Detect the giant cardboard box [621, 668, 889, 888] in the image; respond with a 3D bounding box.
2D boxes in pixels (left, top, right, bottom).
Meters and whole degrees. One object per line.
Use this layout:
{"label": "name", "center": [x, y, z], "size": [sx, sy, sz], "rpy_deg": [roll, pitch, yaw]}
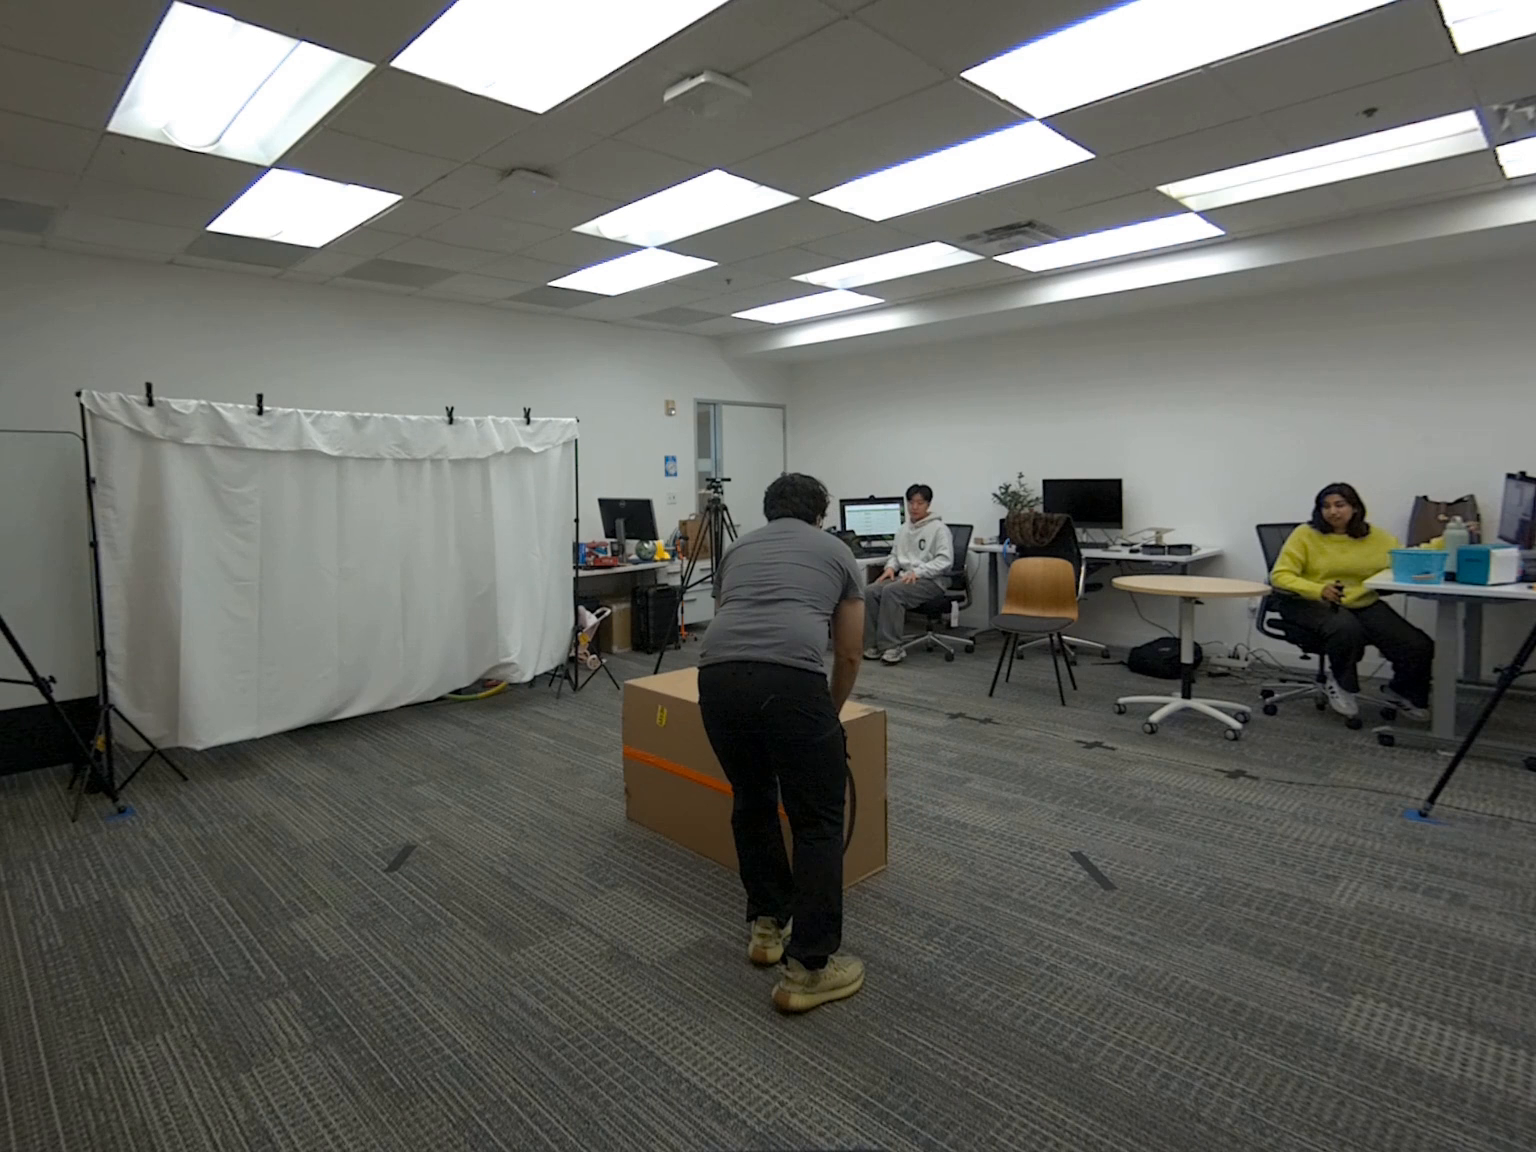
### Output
{"label": "giant cardboard box", "center": [-0.085, 0.740, 3.277], "size": [0.415, 0.575, 1.058], "rpy_deg": [-4, 6, -43]}
